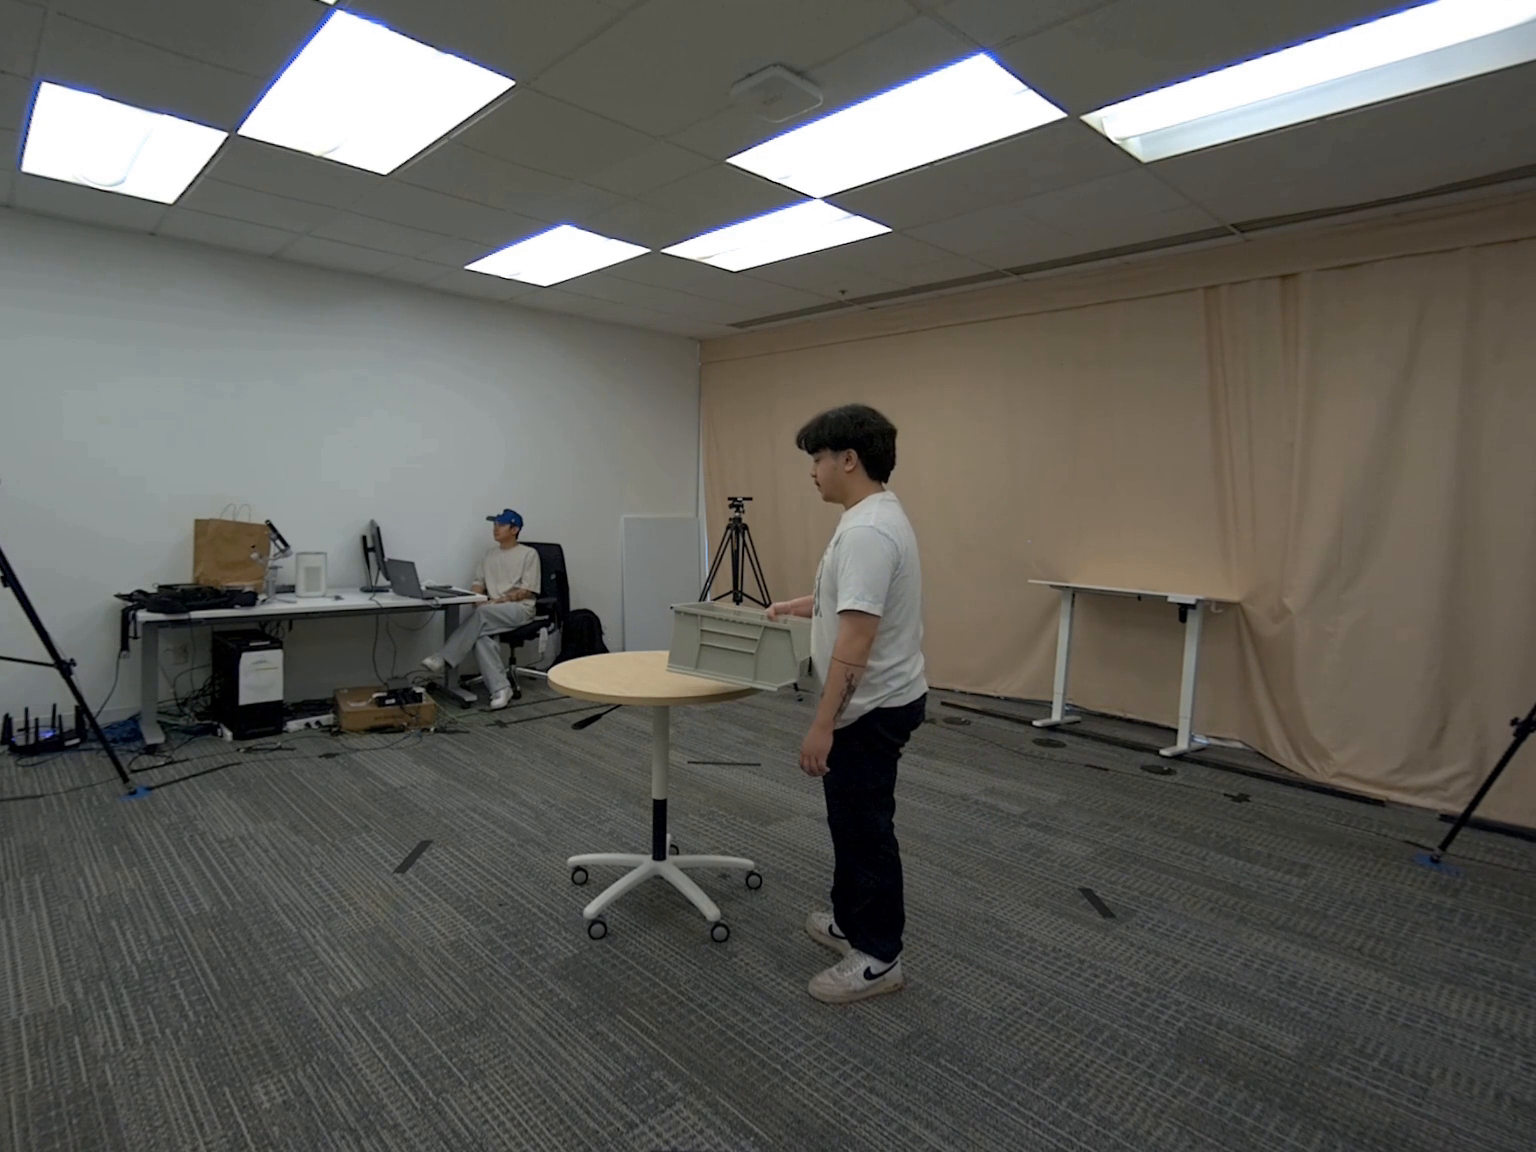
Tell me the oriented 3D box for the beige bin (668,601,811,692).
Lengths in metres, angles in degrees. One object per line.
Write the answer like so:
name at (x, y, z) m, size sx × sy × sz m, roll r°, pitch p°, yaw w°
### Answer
beige bin at (-0.052, 0.199, 2.452) m, size 0.381 × 0.189 × 0.419 m, roll 4°, pitch 3°, yaw 10°
